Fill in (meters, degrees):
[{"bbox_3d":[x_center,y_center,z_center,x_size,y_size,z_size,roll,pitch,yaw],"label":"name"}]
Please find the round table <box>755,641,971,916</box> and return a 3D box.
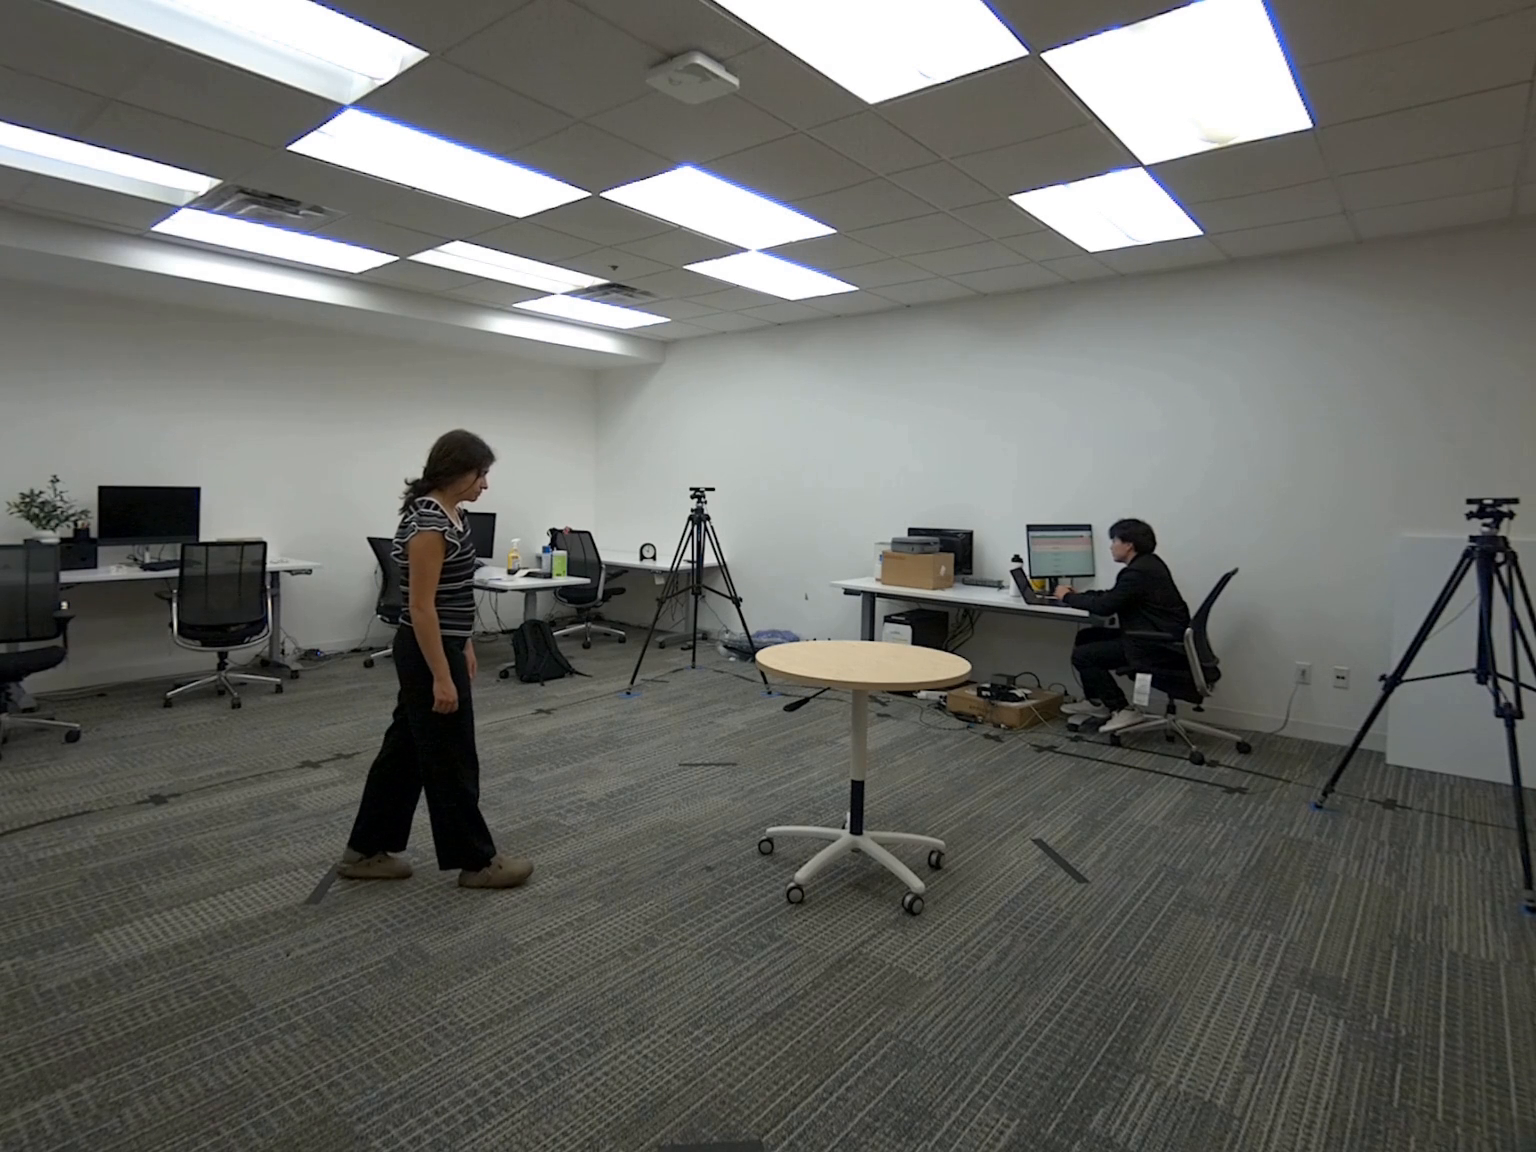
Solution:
[{"bbox_3d":[0.320,0.696,3.101,0.763,0.791,0.768,1,4,-2],"label":"round table"}]
